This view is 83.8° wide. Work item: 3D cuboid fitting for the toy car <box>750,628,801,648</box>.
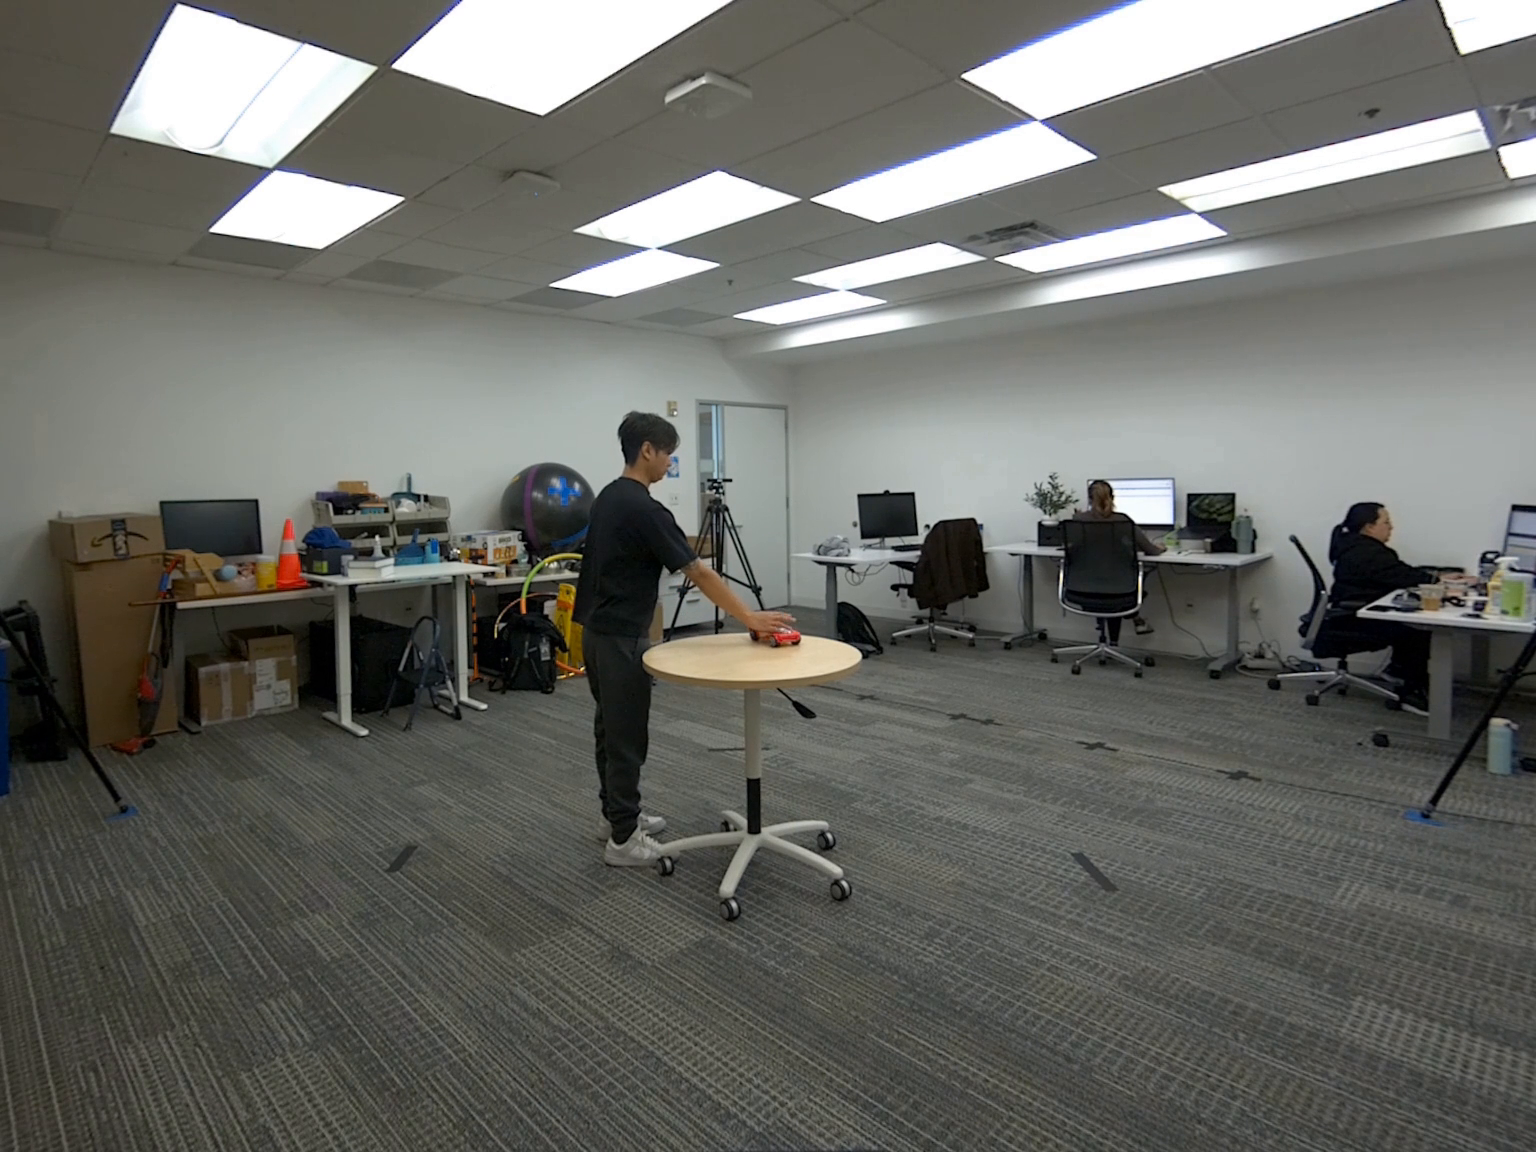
[{"bbox_3d":[0.014,0.212,3.218,0.127,0.082,0.263,-4,18,-29],"label":"toy car"}]
